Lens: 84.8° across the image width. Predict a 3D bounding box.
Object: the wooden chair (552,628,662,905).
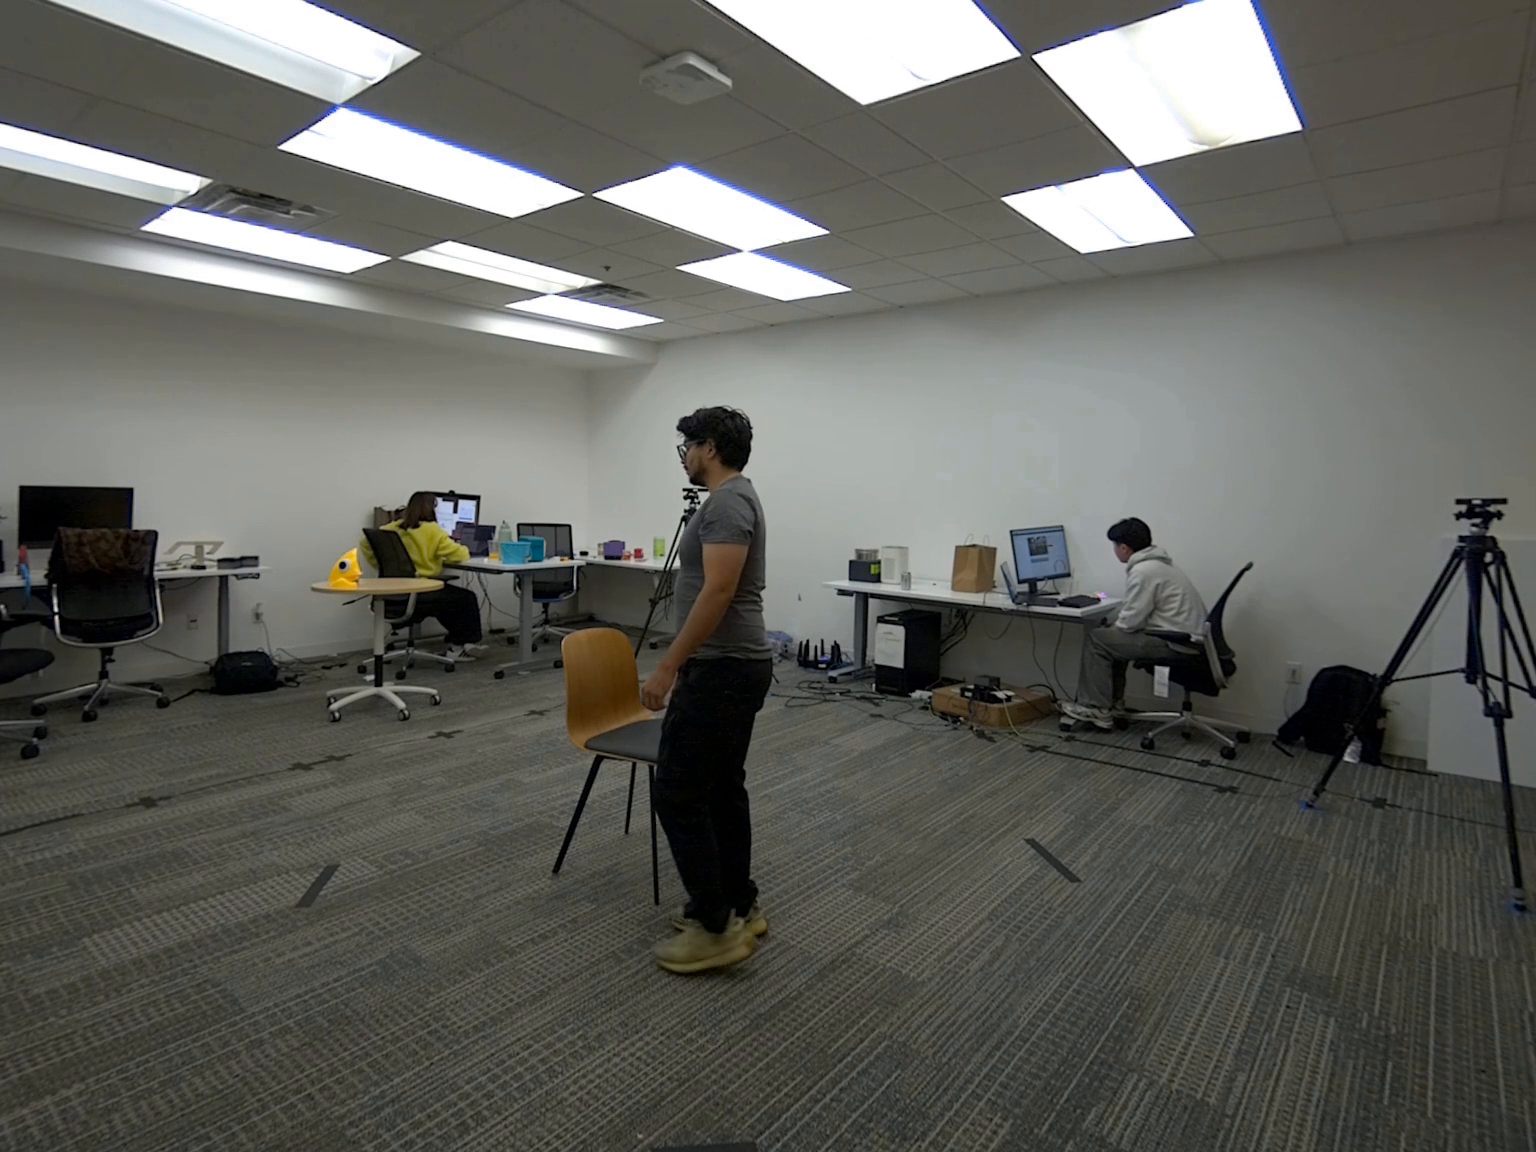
[{"bbox_3d":[-0.464,0.637,3.105,0.537,0.877,0.466,-2,1,28],"label":"wooden chair"}]
